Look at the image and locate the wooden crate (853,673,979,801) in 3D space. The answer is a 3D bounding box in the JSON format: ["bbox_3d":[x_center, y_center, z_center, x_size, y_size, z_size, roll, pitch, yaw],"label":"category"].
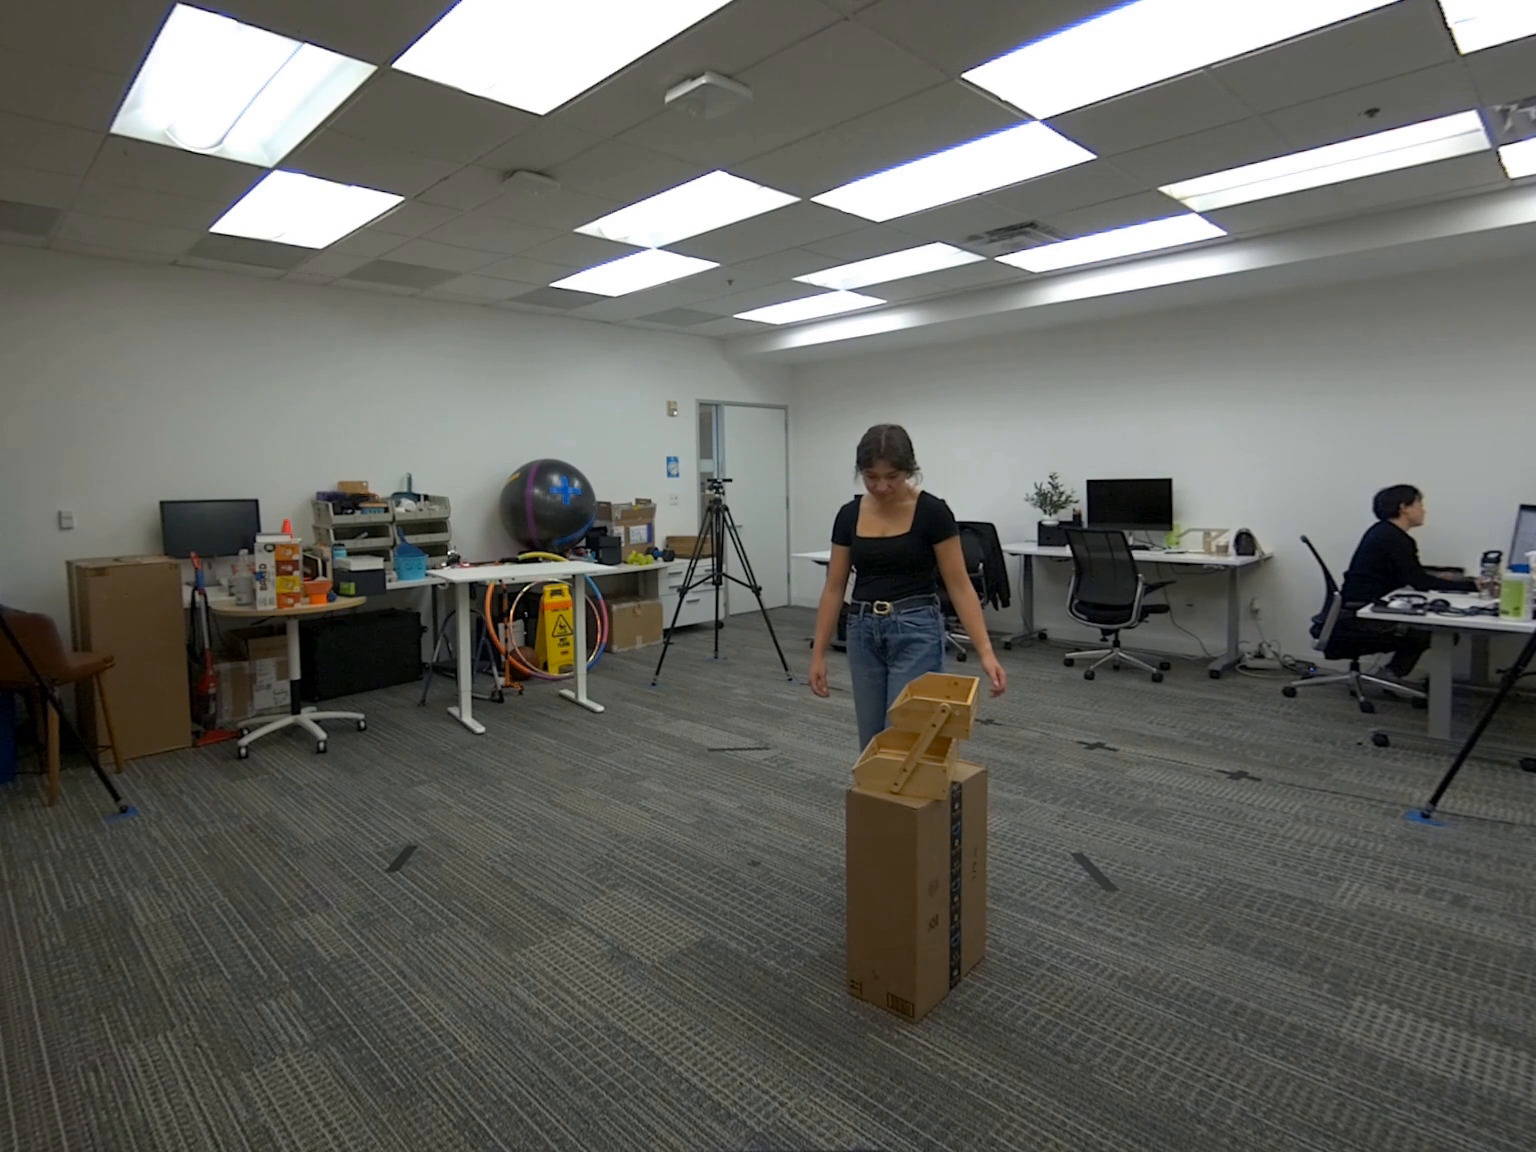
[{"bbox_3d":[0.405,0.425,2.372,0.308,0.272,0.320,4,7,20],"label":"wooden crate"}]
